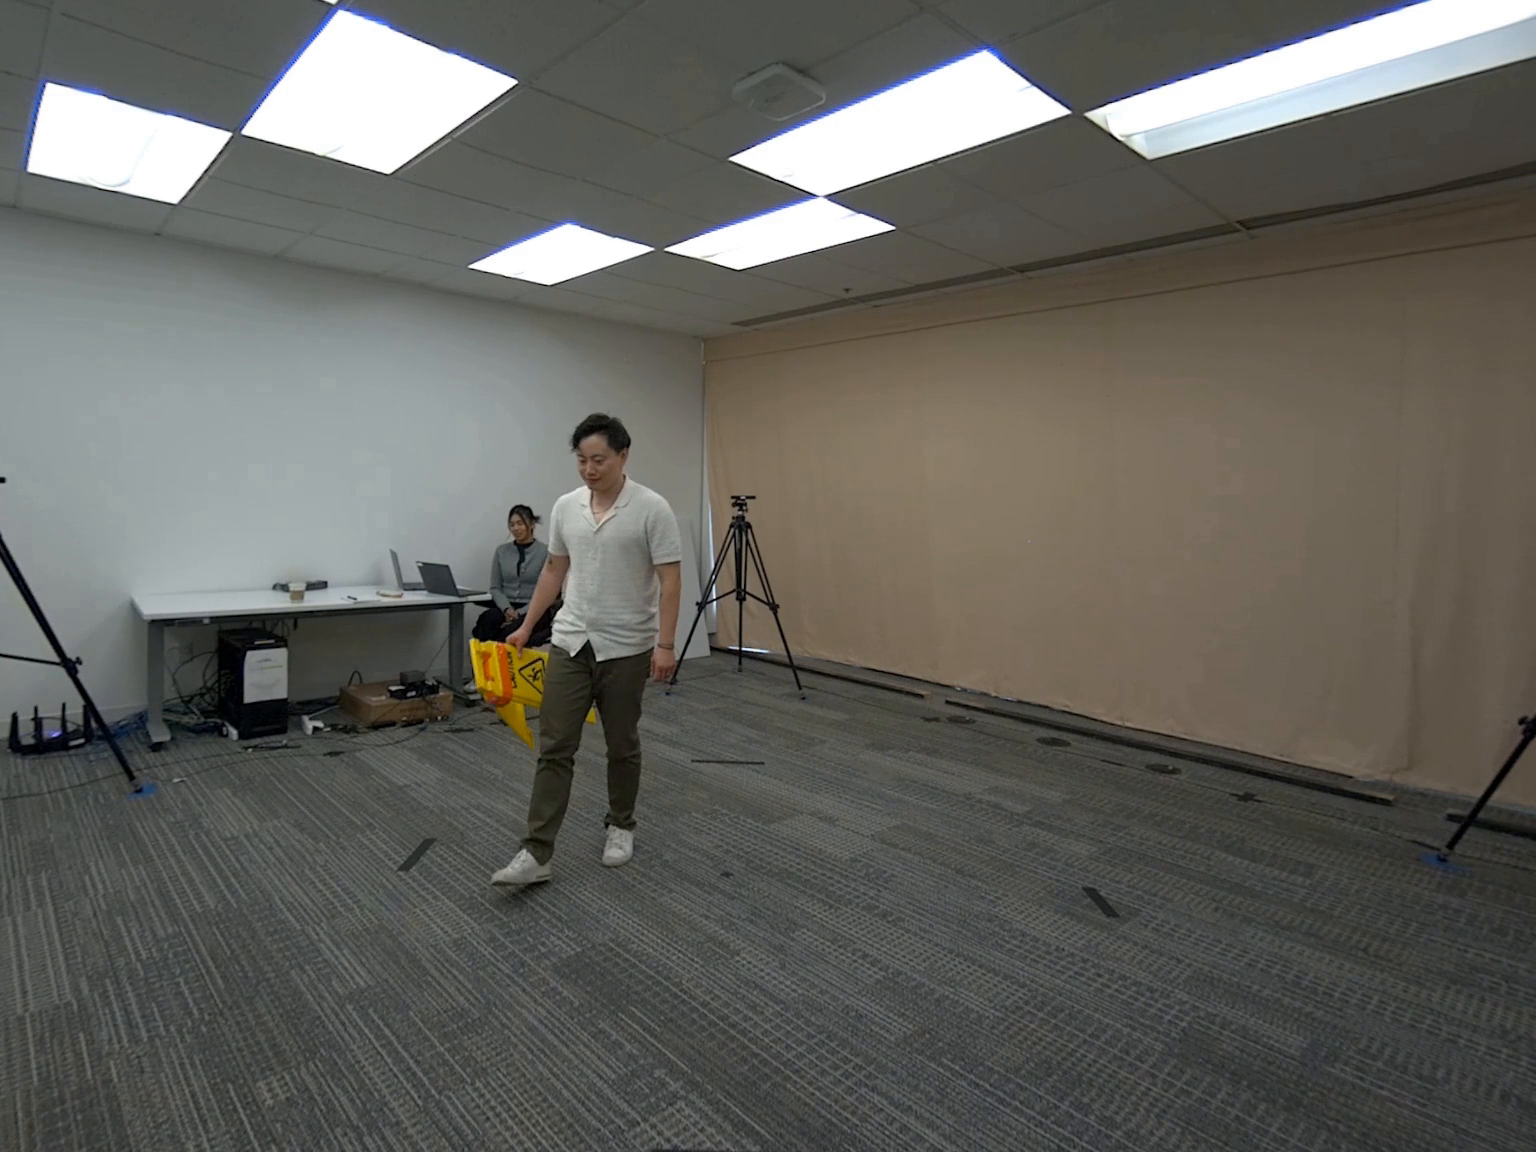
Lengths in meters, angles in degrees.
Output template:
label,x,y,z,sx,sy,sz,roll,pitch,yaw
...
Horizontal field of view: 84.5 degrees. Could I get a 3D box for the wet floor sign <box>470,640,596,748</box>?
label,x,y,z,sx,sy,sz,roll,pitch,yaw
wet floor sign,-0.969,0.428,3.262,0.290,0.289,0.629,-23,-26,6
